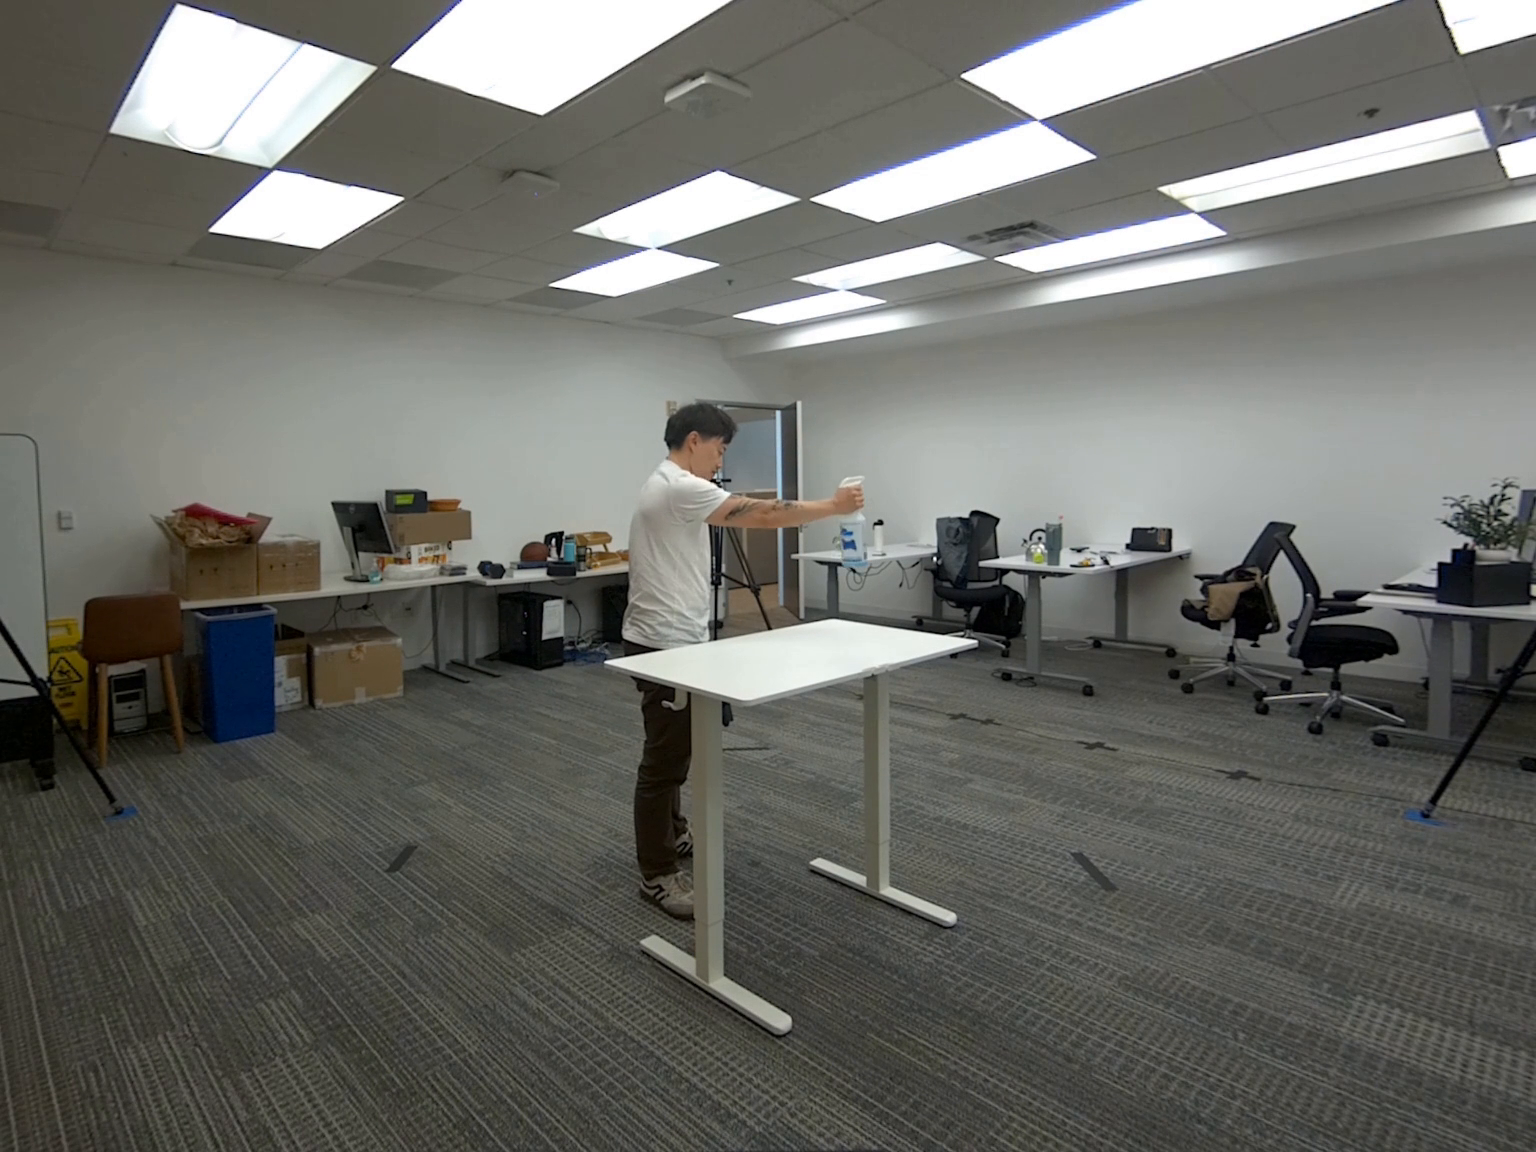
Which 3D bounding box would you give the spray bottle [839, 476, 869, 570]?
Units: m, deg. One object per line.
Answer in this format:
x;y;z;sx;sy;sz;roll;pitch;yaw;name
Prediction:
0.280;-0.183;2.849;0.091;0.295;0.087;-3;7;11;spray bottle
